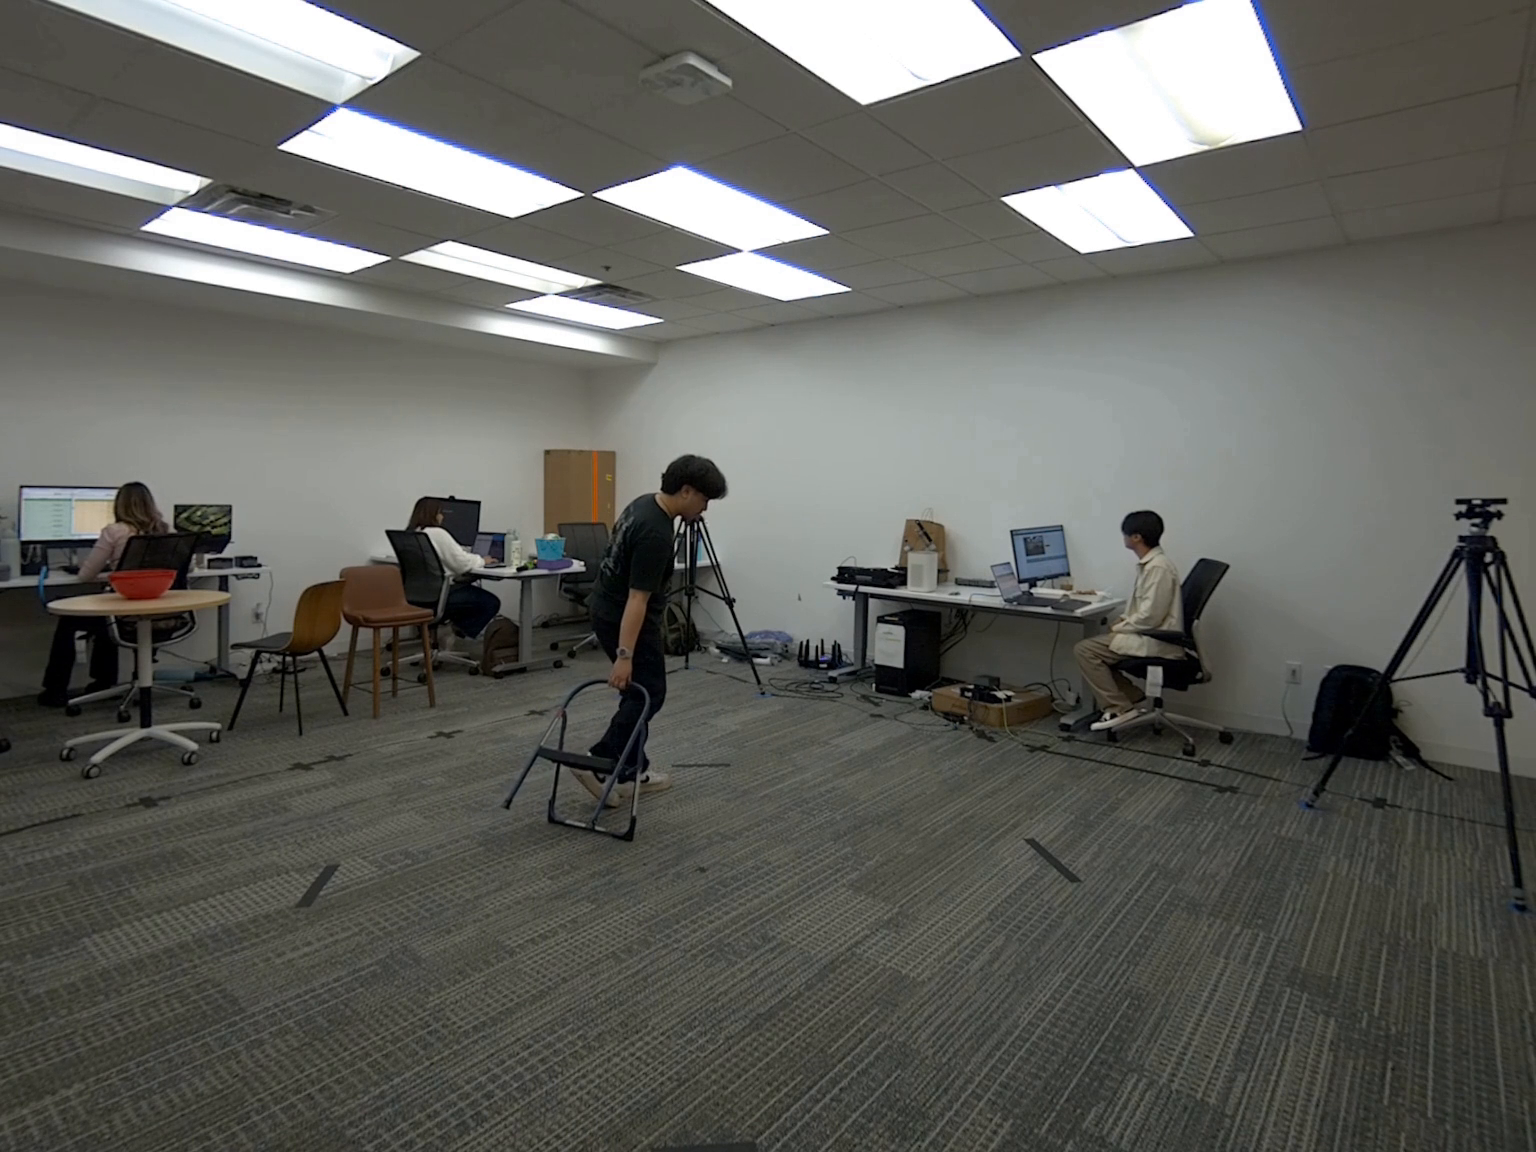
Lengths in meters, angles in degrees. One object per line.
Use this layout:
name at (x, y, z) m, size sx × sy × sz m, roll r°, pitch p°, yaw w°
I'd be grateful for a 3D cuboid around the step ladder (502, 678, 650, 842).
step ladder at (-0.728, 0.693, 3.416) m, size 0.442 × 0.614 × 0.335 m, roll 3°, pitch -23°, yaw 26°
